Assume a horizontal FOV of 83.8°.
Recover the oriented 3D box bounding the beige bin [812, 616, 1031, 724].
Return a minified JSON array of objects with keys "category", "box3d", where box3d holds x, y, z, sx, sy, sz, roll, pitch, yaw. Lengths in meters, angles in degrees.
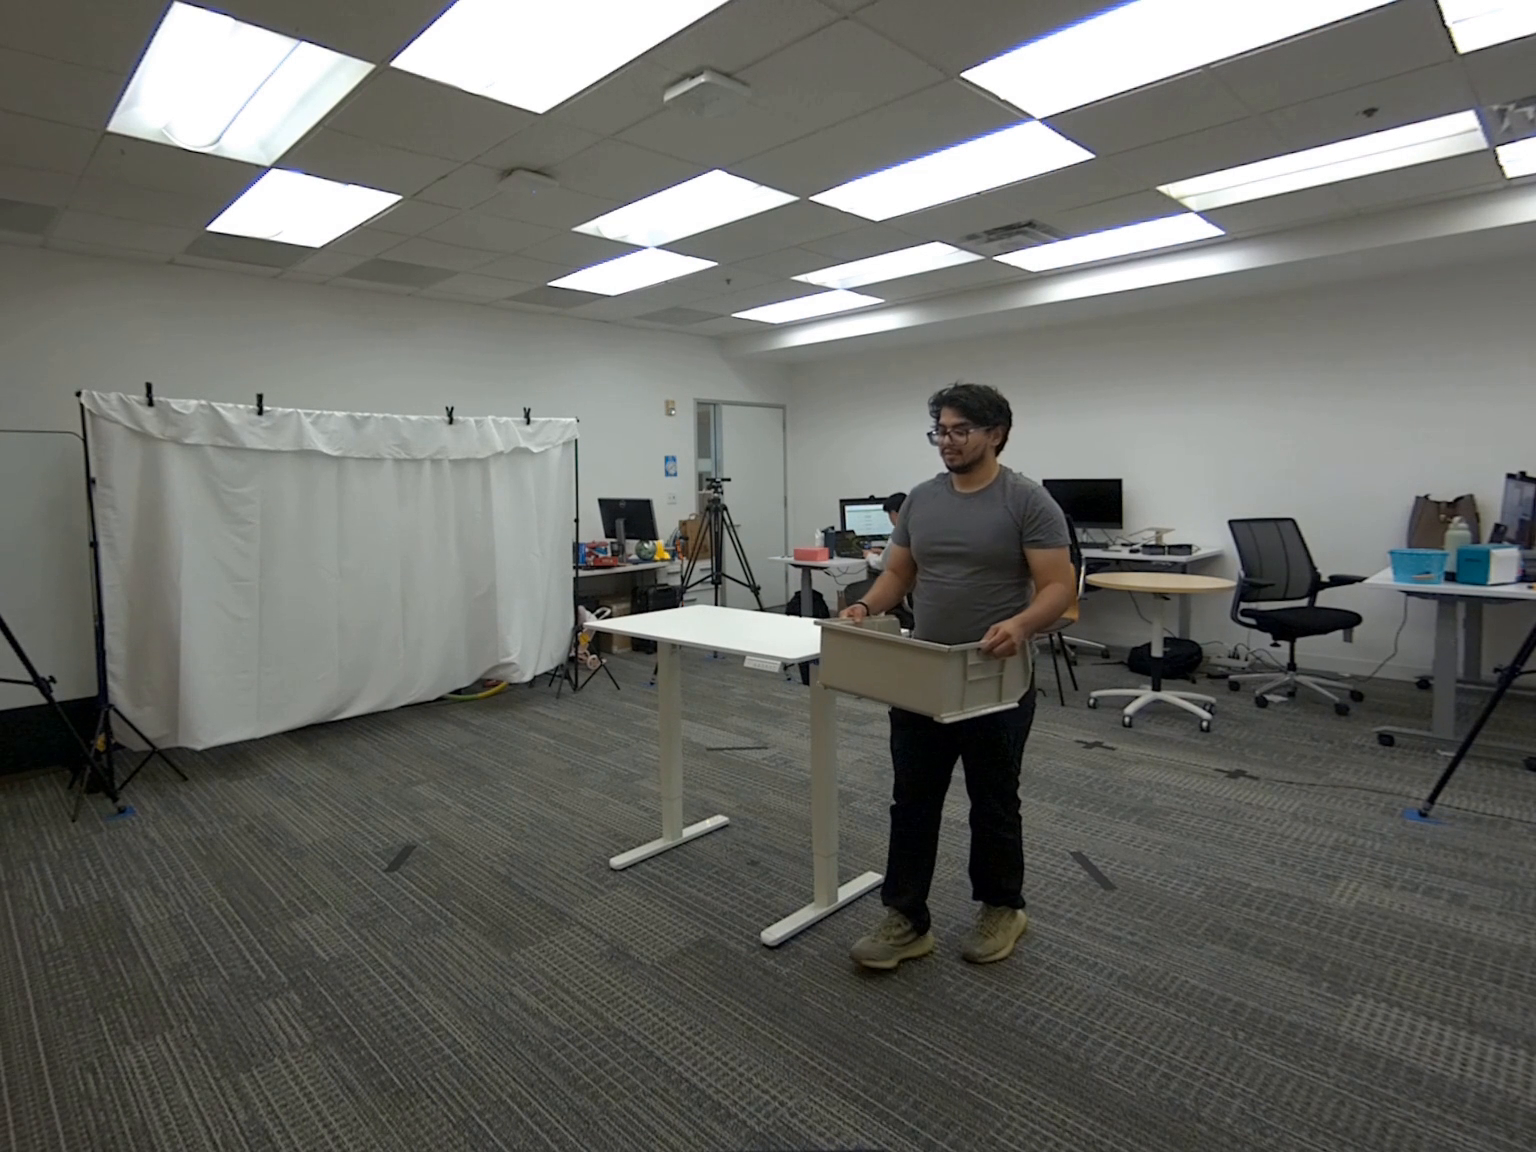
[{"category":"beige bin","box3d":[0.395,0.226,2.217,0.367,0.188,0.436,-6,9,-41]}]
